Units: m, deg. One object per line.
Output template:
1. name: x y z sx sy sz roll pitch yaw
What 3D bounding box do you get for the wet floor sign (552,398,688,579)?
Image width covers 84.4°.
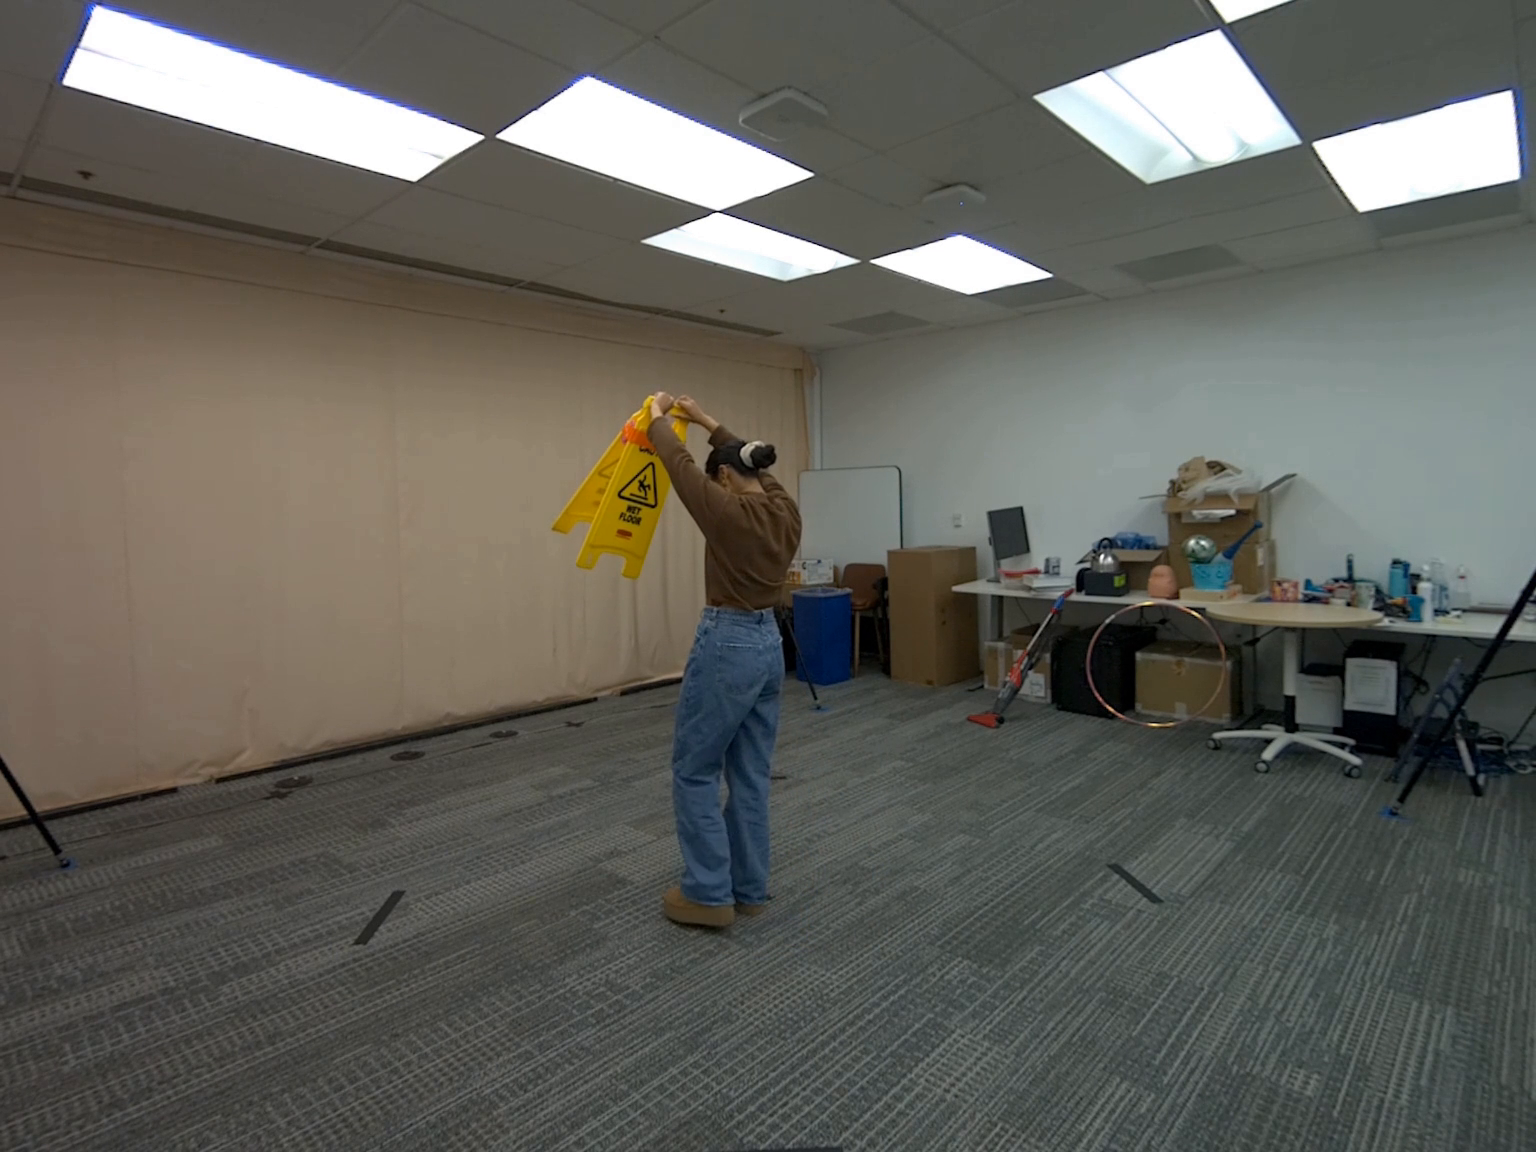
1. wet floor sign: -0.509 -0.347 3.104 0.272 0.646 0.300 14 22 -42
